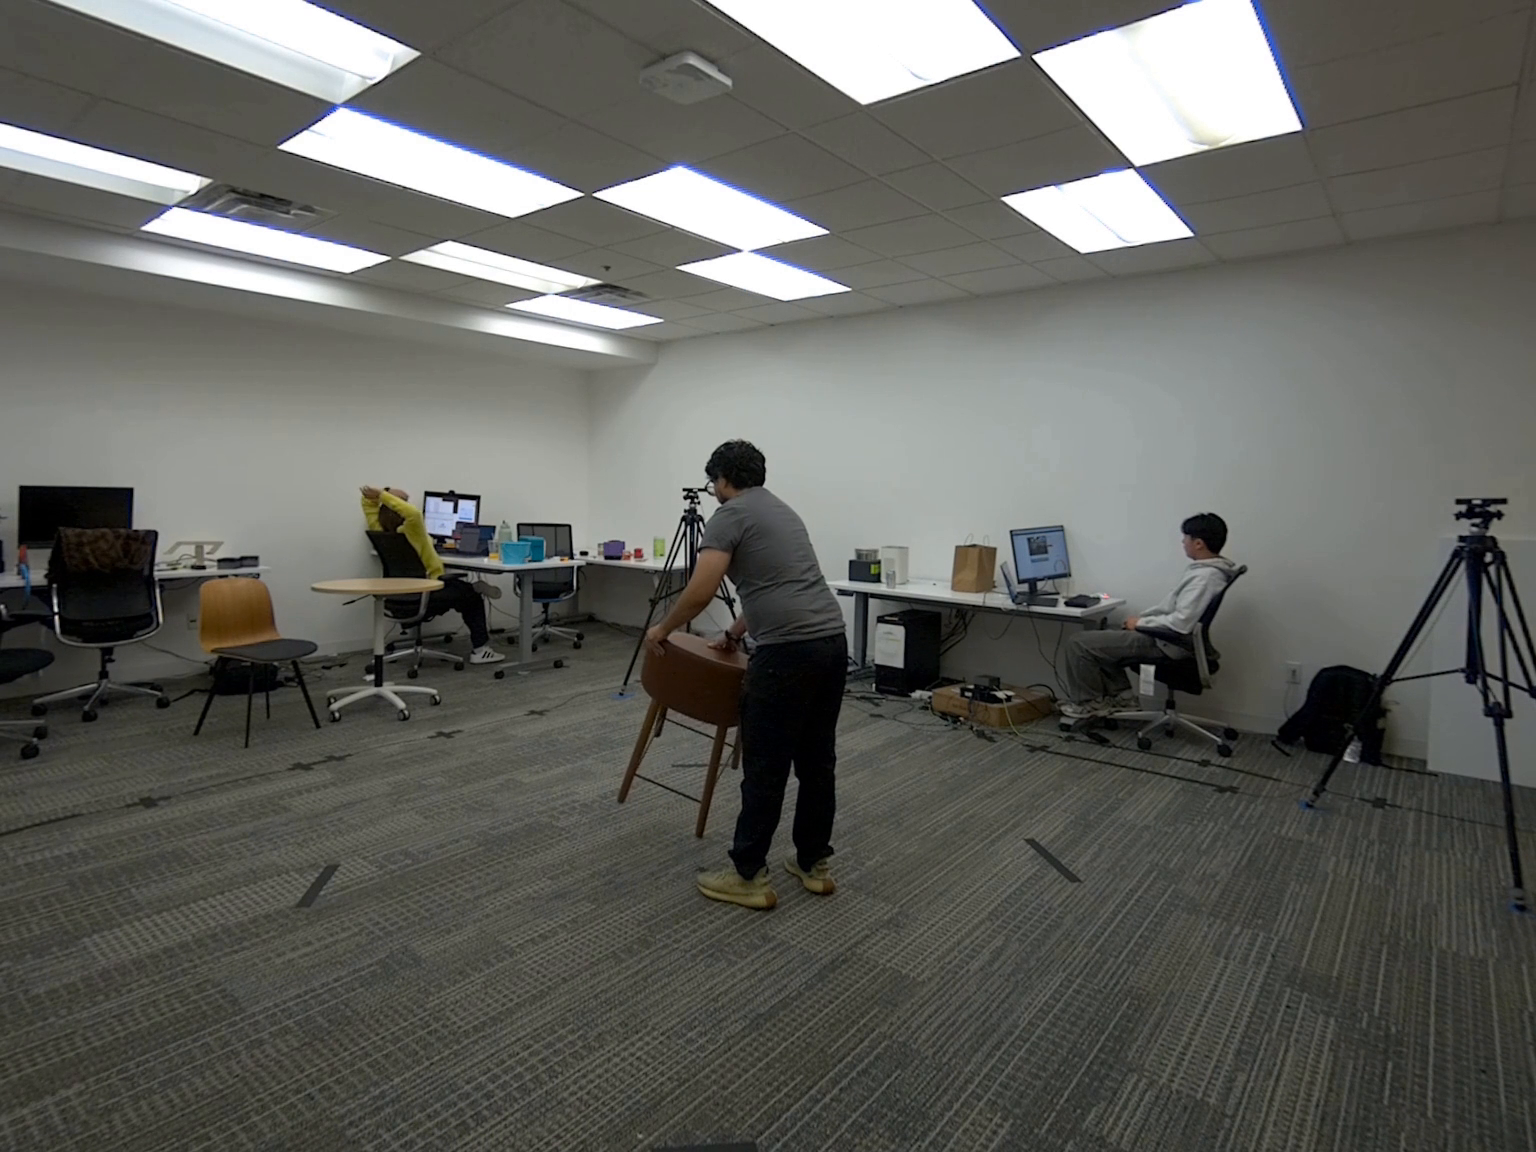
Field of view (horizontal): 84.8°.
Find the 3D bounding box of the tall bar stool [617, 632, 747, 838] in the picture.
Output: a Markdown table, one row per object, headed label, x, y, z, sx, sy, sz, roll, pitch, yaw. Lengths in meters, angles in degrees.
| label | x | y | z | sx | sy | sz | roll | pitch | yaw |
| --- | --- | --- | --- | --- | --- | --- | --- | --- | --- |
| tall bar stool | -0.300 | 0.530 | 3.402 | 0.463 | 0.874 | 0.469 | 21 | 31 | 9 |
